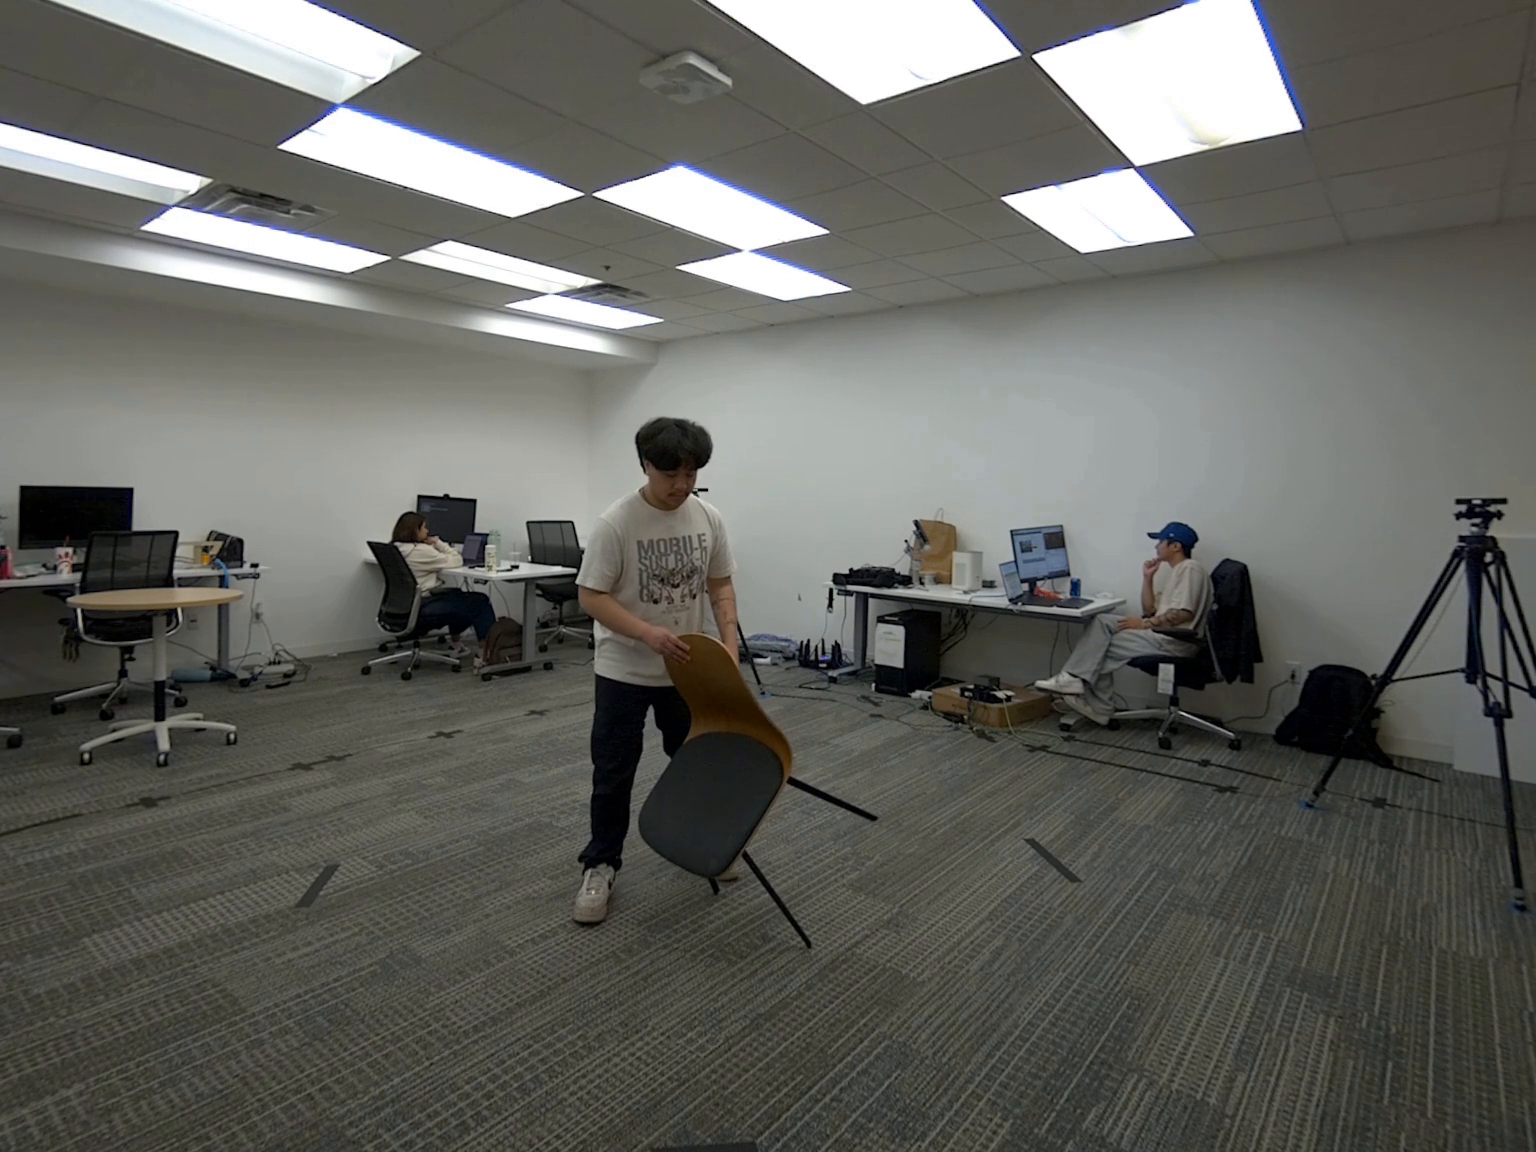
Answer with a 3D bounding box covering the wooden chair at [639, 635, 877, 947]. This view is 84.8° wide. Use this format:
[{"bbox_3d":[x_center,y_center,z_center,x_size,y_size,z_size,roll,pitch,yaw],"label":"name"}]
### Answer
[{"bbox_3d":[-0.140,0.664,2.629,0.495,0.846,0.524,7,49,47],"label":"wooden chair"}]
